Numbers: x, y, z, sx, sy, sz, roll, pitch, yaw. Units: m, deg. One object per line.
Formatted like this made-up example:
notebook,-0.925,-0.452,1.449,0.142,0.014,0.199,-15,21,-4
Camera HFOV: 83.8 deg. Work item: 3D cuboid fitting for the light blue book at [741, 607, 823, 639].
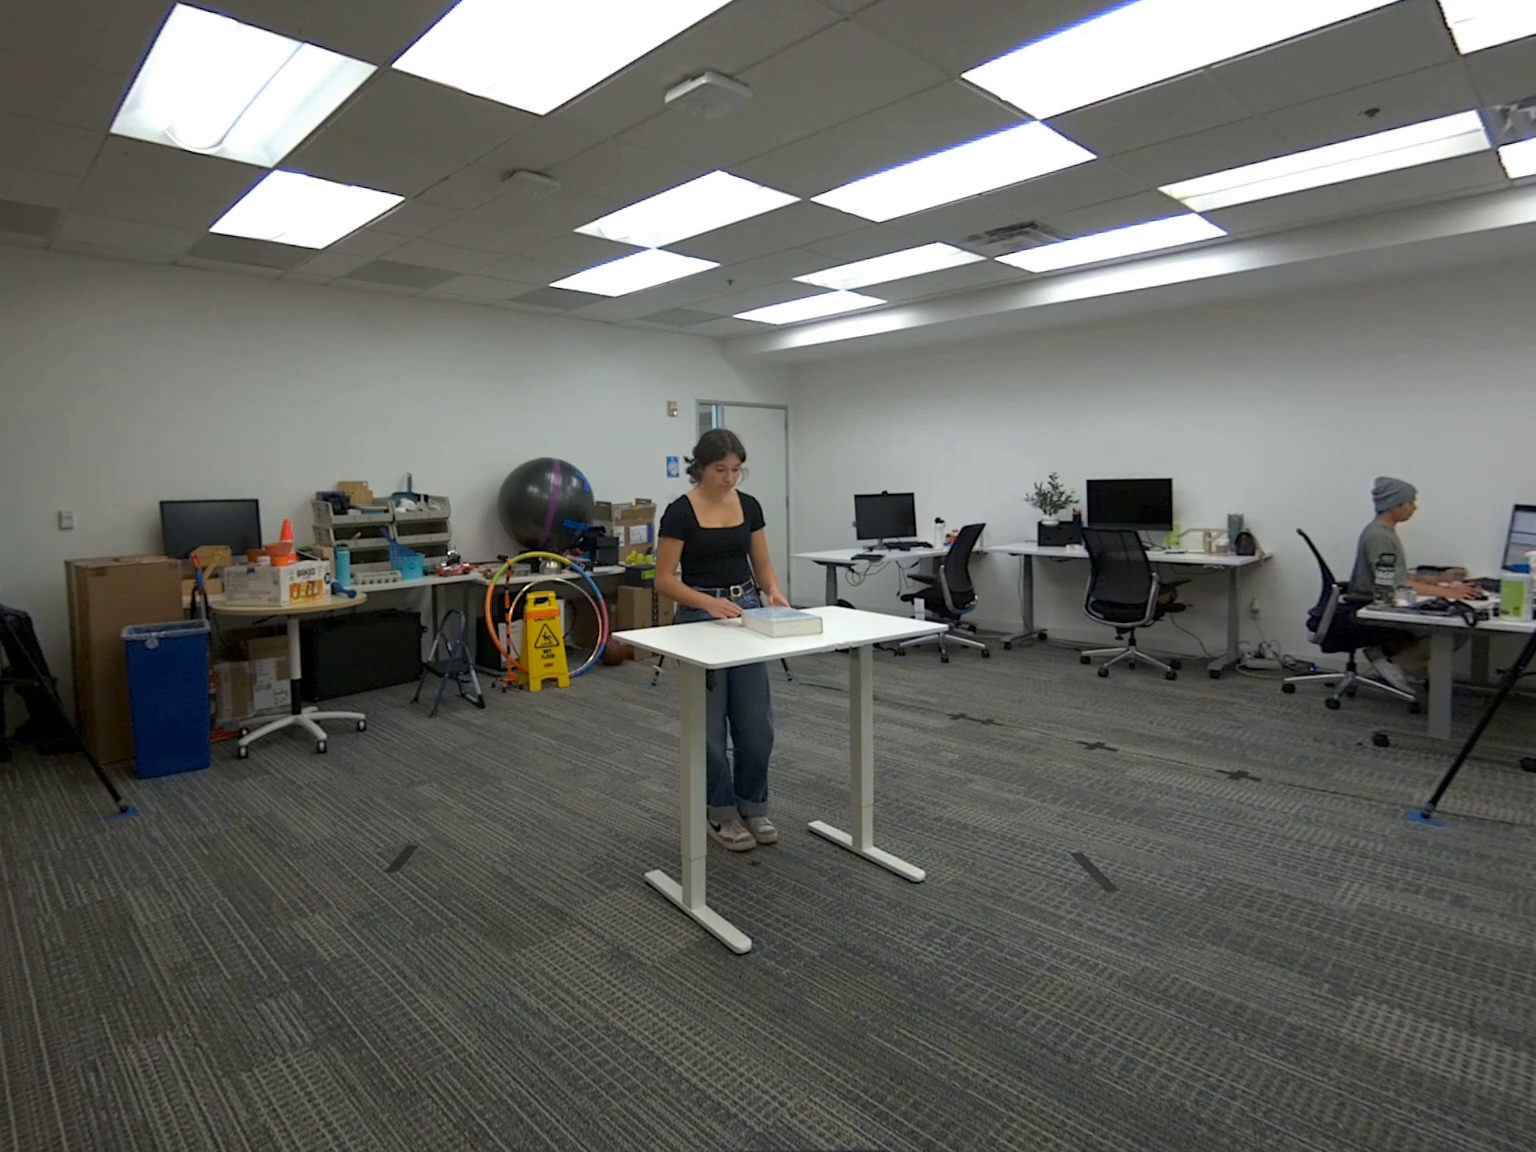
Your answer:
light blue book,0.038,0.156,2.903,0.187,0.059,0.267,-3,6,-24
